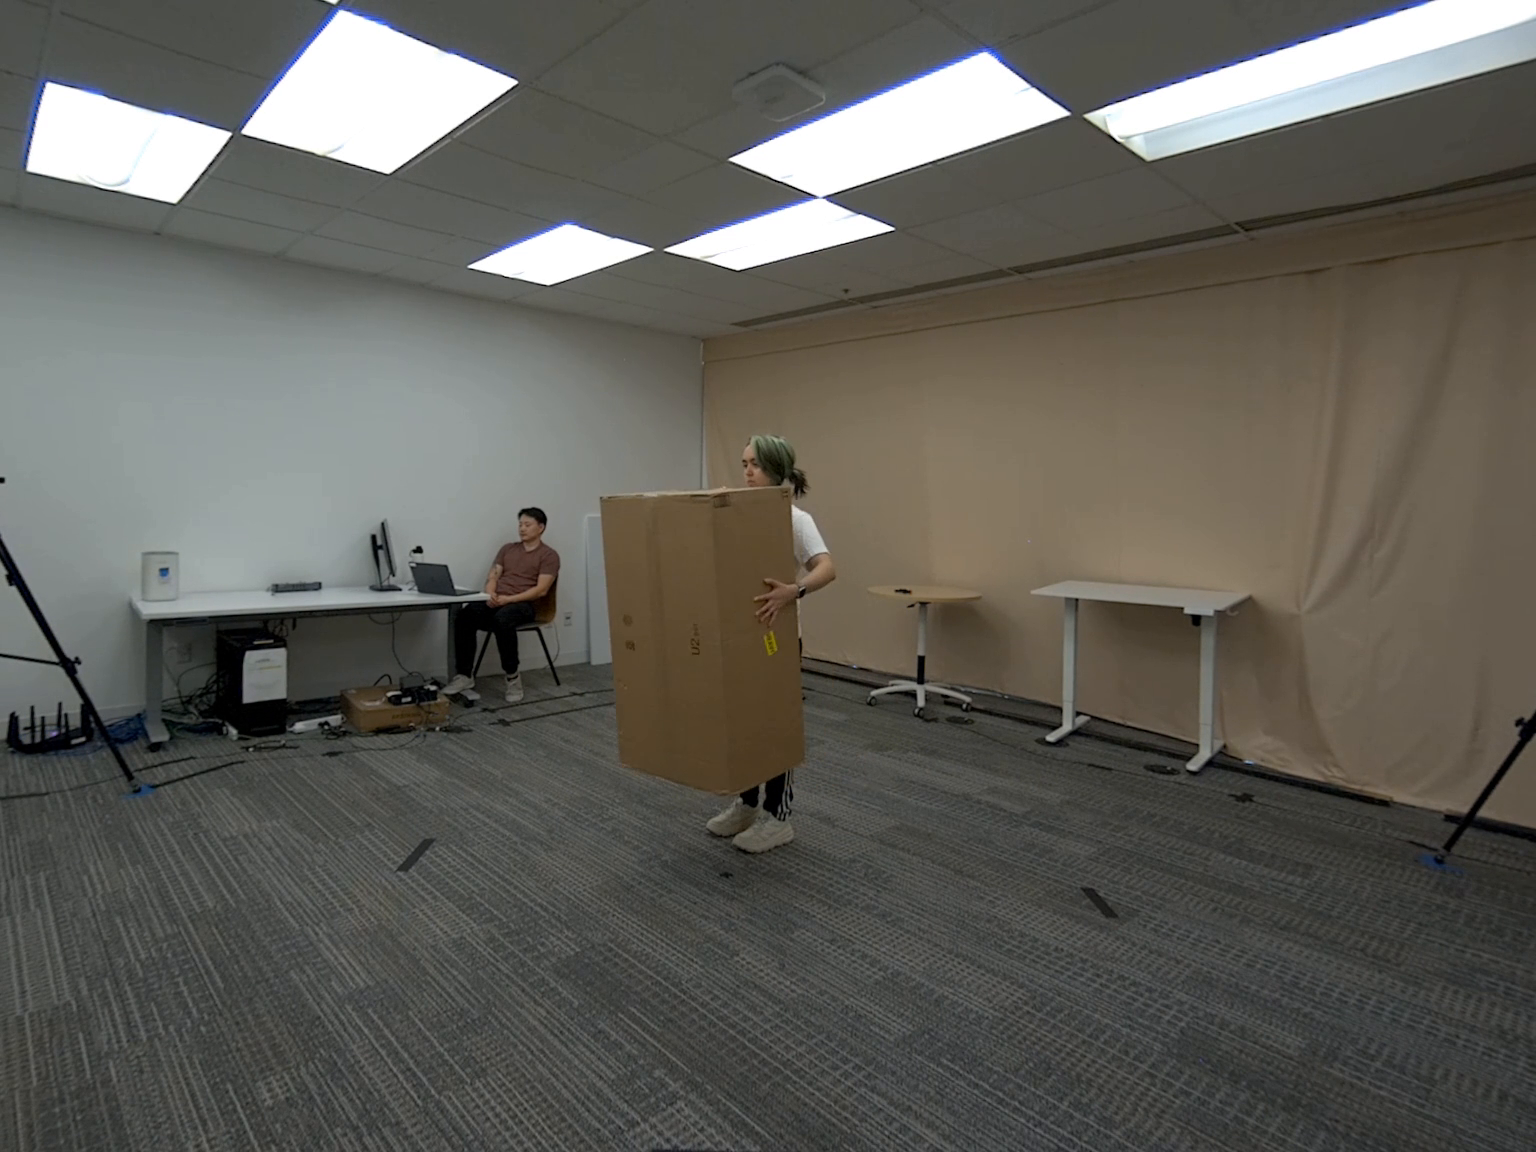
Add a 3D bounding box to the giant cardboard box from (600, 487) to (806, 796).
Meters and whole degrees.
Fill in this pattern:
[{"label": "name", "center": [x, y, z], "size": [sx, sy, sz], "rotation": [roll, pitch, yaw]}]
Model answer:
[{"label": "giant cardboard box", "center": [-0.248, 0.199, 3.108], "size": [0.591, 1.021, 0.418], "rotation": [2, 7, 41]}]
